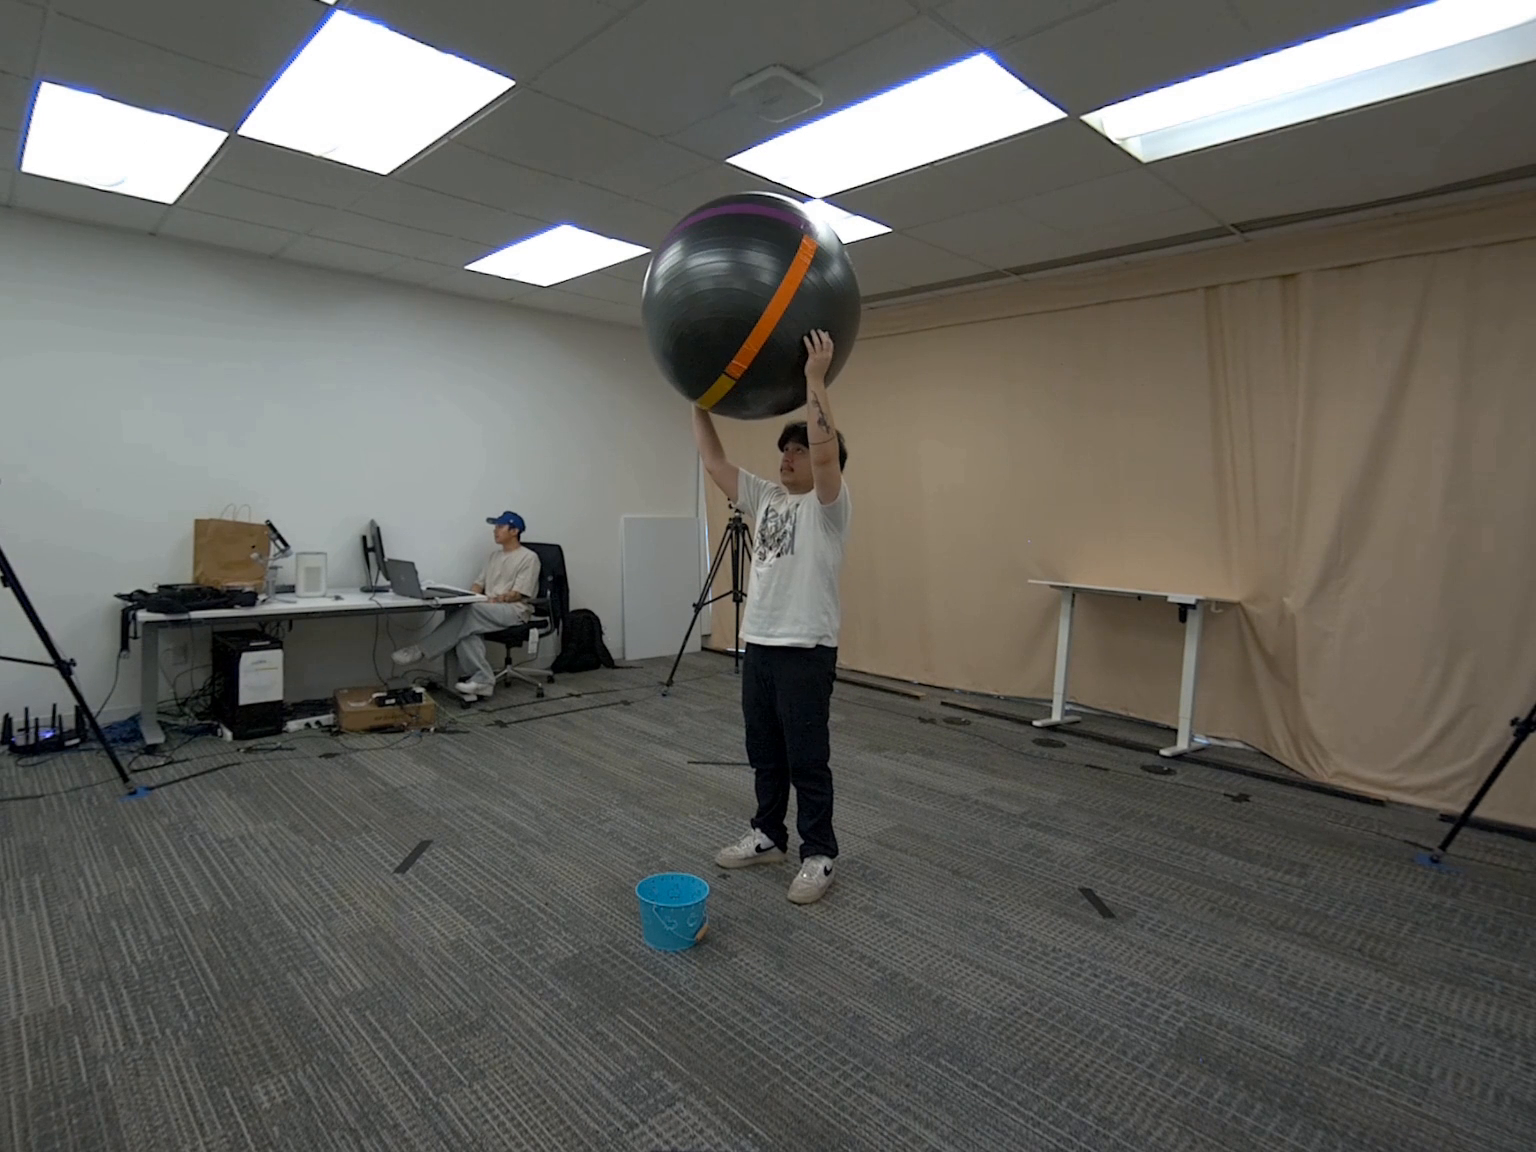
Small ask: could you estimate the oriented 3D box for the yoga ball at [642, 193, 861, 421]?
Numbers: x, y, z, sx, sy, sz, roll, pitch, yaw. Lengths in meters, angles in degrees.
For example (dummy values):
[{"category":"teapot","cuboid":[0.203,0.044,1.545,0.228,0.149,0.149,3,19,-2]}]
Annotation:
[{"category":"yoga ball","cuboid":[-0.064,-0.919,2.921,0.757,0.756,0.760,1,4,-1]}]
